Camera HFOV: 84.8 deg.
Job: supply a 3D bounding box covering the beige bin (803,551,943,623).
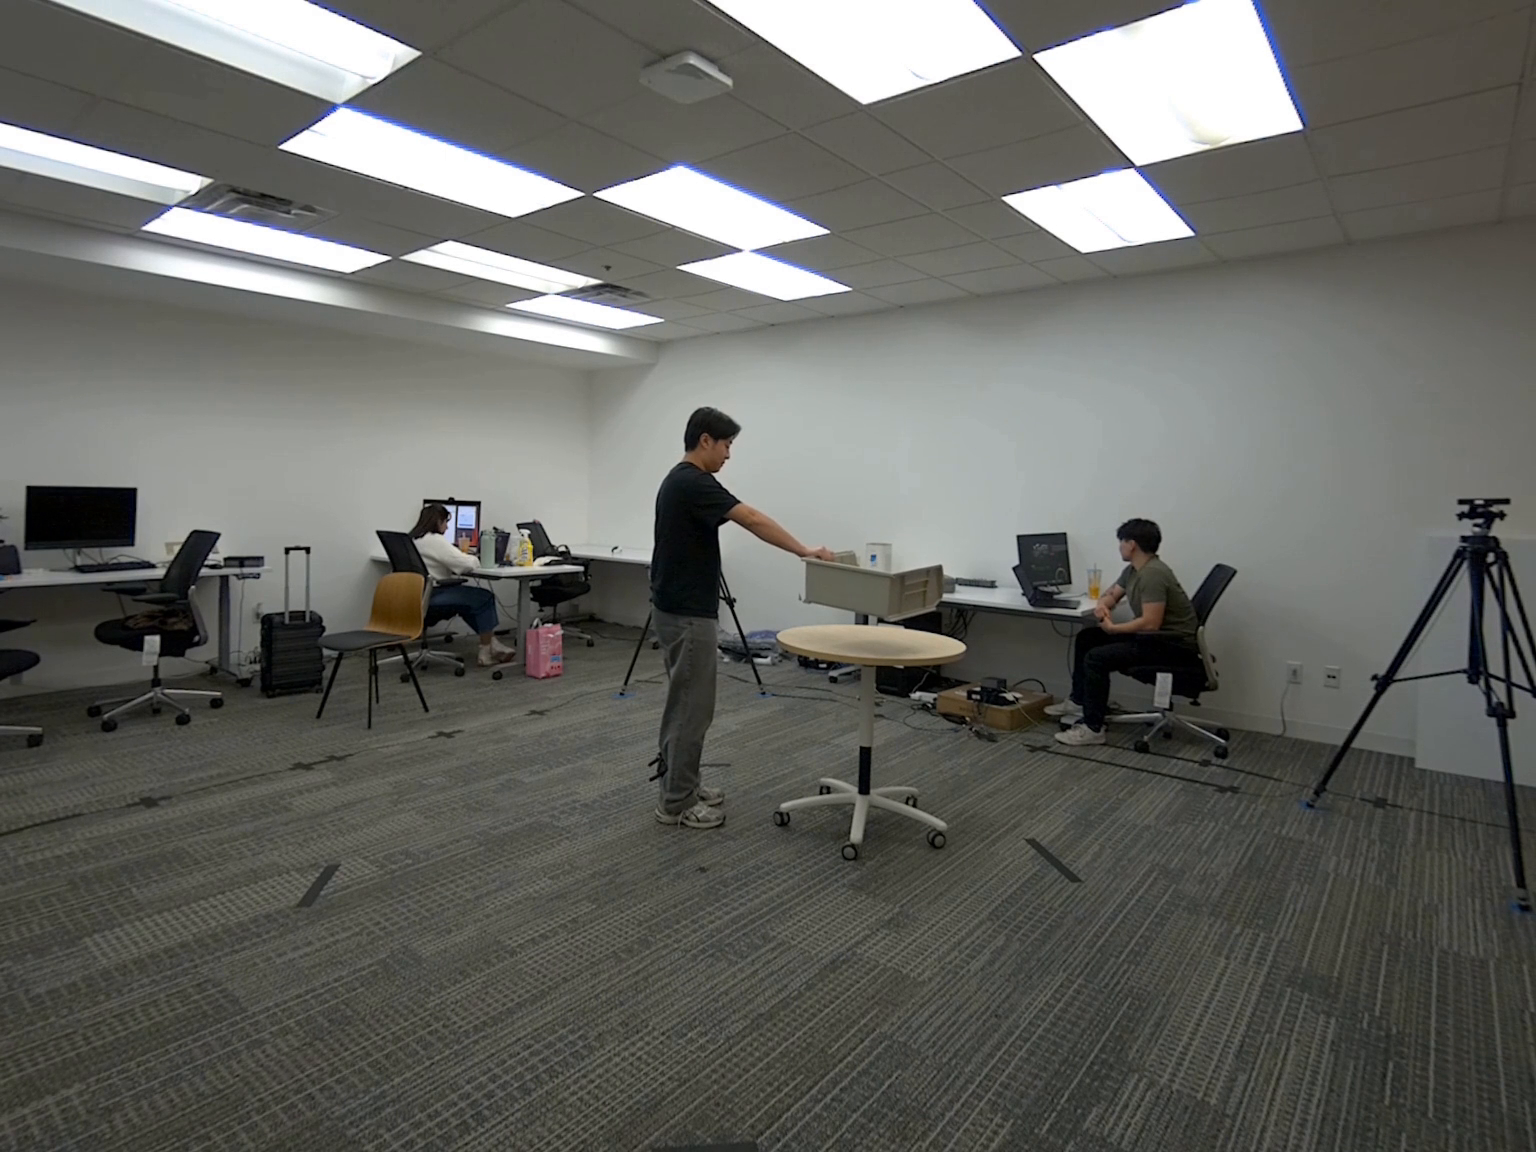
[{"bbox_3d":[0.395,0.025,3.315,0.438,0.187,0.367,11,14,43],"label":"beige bin"}]
